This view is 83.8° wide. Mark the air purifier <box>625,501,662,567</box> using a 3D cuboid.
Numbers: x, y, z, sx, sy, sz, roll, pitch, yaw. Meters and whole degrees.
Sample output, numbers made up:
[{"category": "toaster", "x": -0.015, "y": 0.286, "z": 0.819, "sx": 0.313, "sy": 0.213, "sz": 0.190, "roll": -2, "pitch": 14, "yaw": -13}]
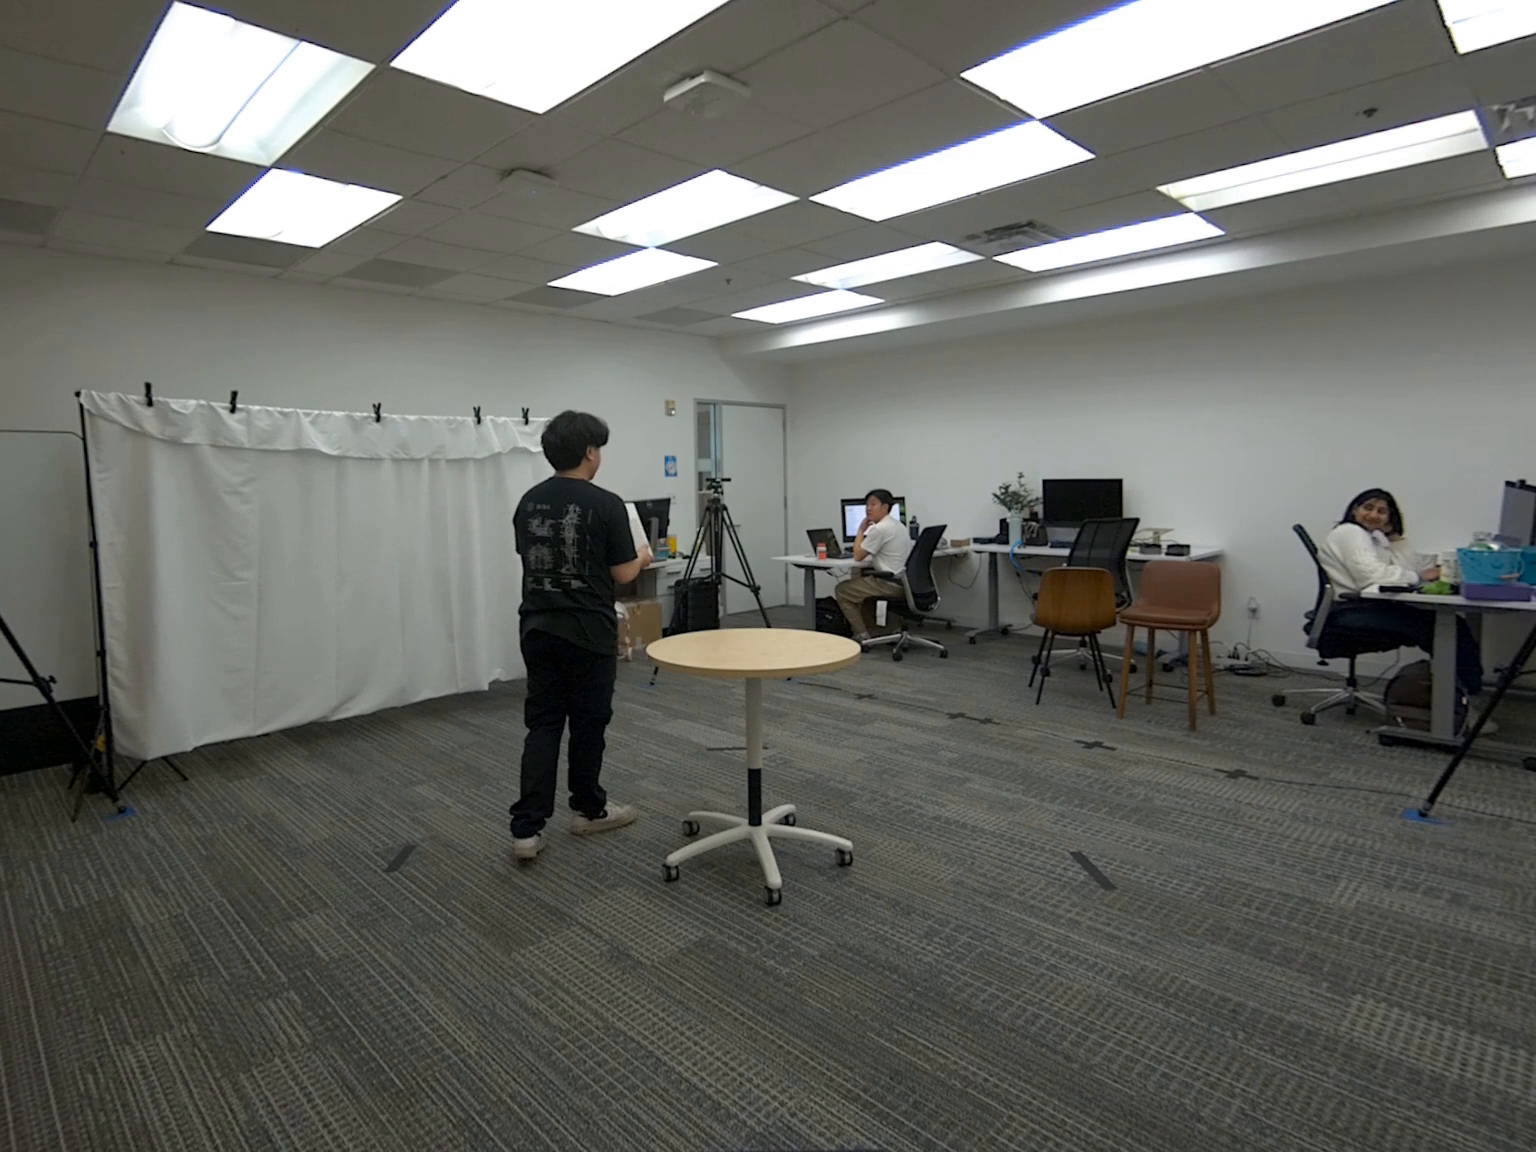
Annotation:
[{"category": "air purifier", "x": -0.618, "y": -0.157, "z": 3.651, "sx": 0.173, "sy": 0.268, "sz": 0.168, "roll": -29, "pitch": -10, "yaw": 34}]
